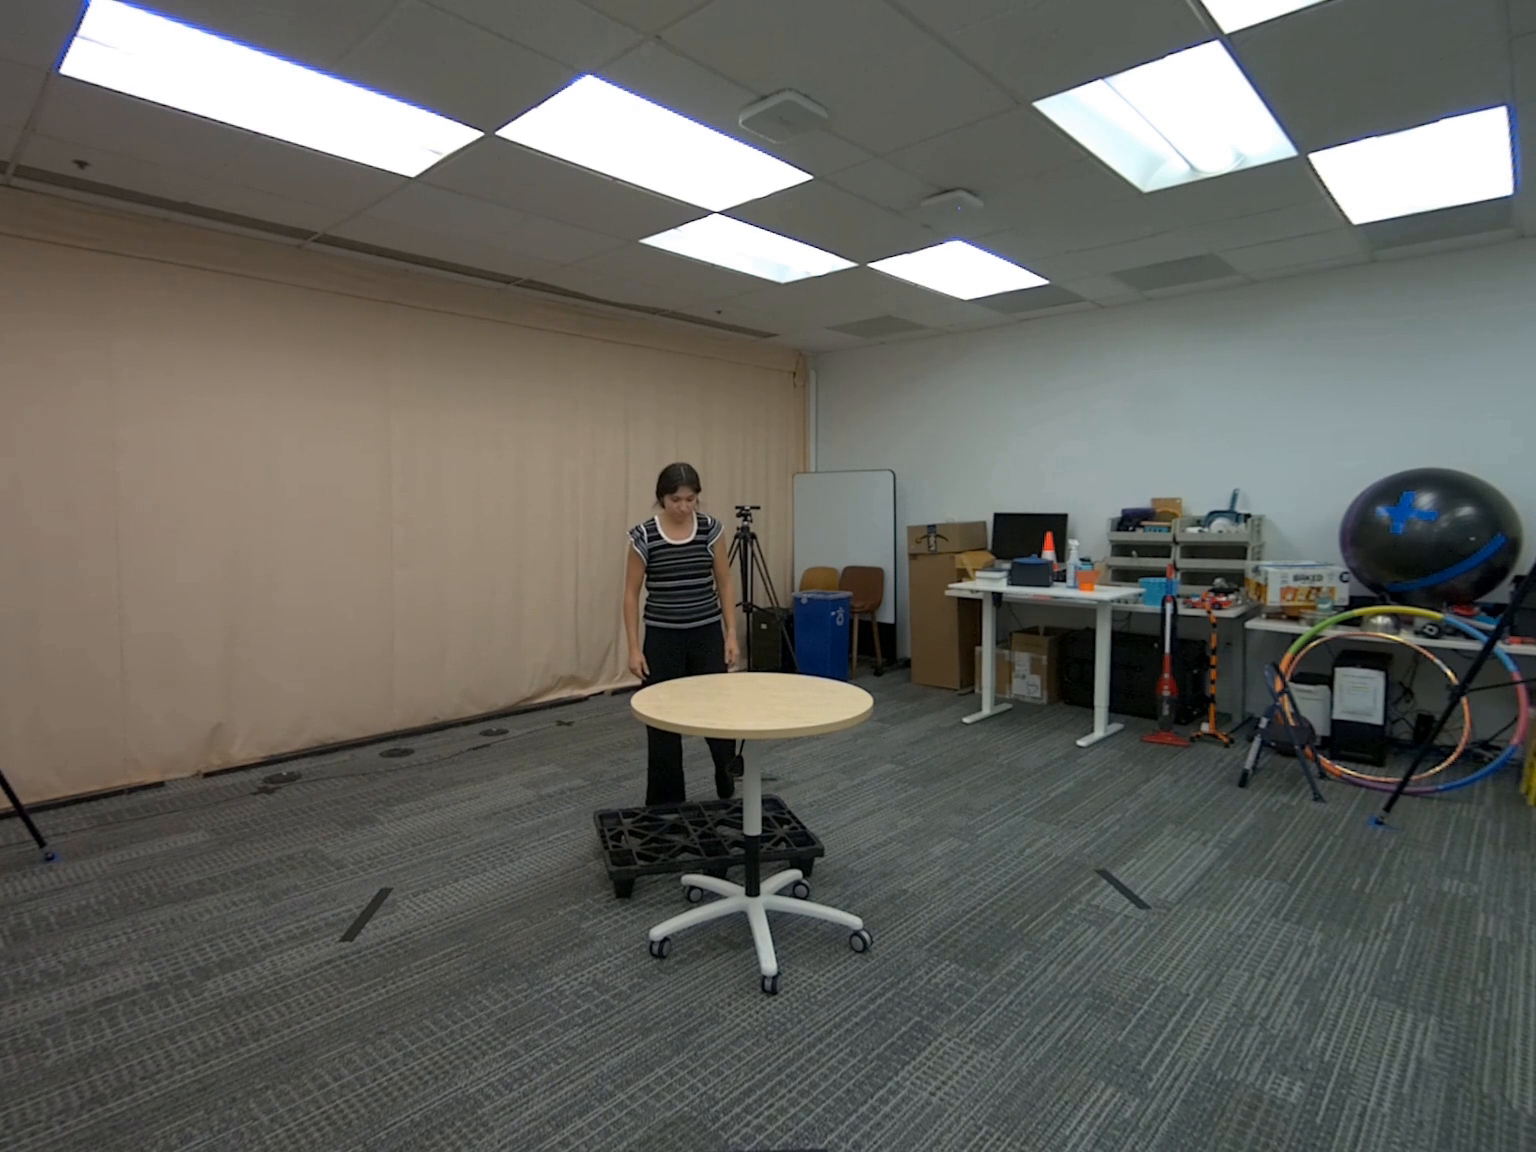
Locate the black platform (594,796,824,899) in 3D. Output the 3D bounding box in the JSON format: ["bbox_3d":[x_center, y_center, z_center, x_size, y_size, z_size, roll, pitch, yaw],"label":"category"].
[{"bbox_3d":[-0.247,1.051,3.294,0.793,0.143,0.616,-2,6,-15],"label":"black platform"}]
